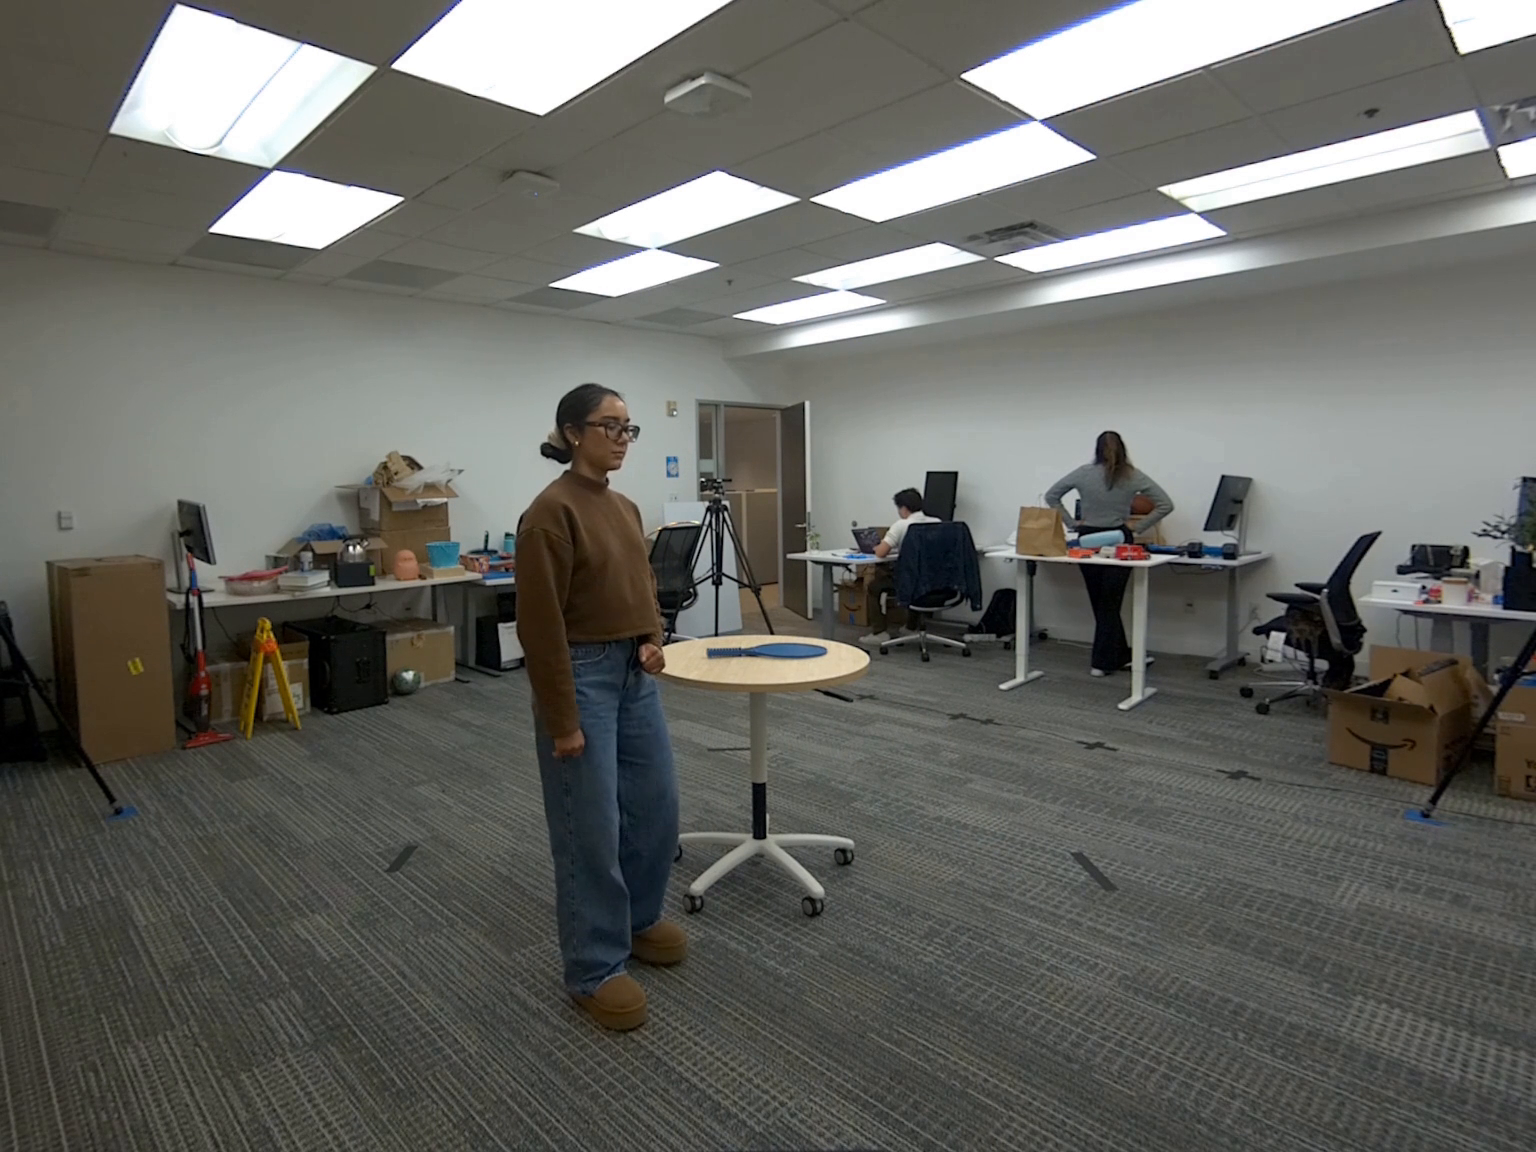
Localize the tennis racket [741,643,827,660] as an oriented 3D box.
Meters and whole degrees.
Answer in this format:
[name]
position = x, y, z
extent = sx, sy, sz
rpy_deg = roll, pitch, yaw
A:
[tennis racket]
position = 0.009, 0.264, 2.992
extent = 0.428, 0.031, 0.217
rpy_deg = -1, 7, -11
